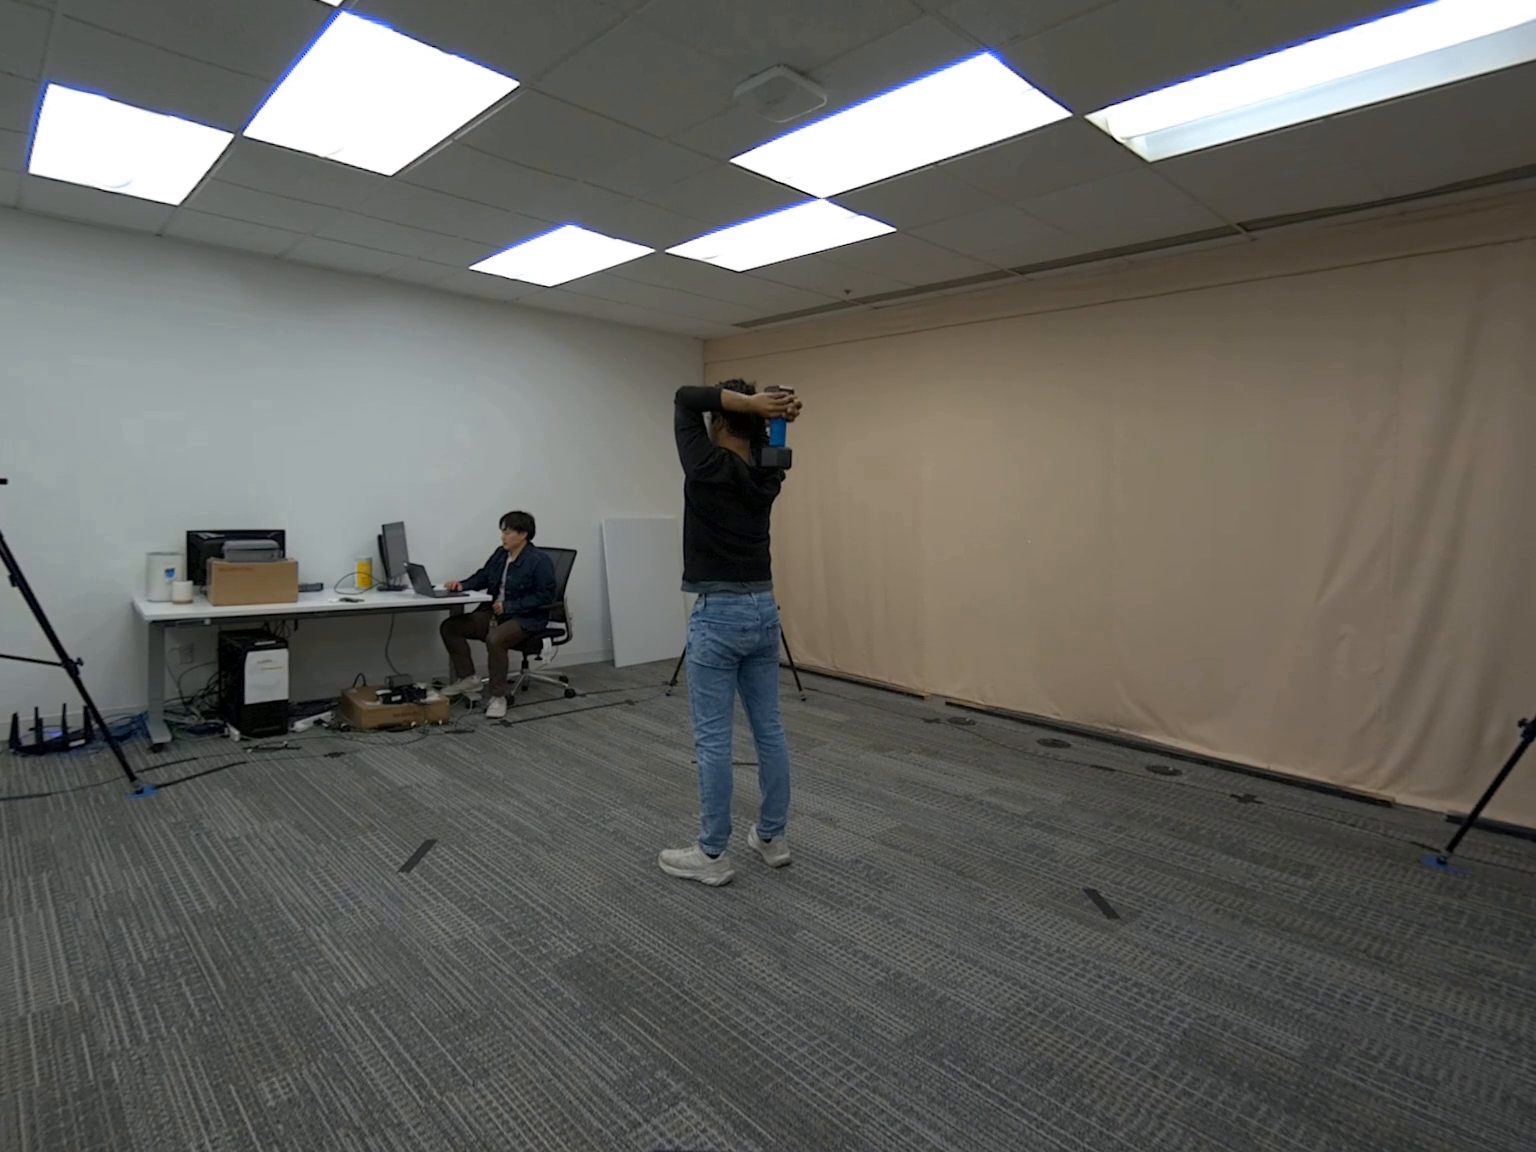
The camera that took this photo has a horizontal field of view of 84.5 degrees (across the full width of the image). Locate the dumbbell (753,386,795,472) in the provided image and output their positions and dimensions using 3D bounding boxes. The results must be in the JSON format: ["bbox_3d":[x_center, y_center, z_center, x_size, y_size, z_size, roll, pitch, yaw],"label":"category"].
[{"bbox_3d":[0.010,-0.538,2.997,0.120,0.294,0.111,0,-1,-40],"label":"dumbbell"}]
